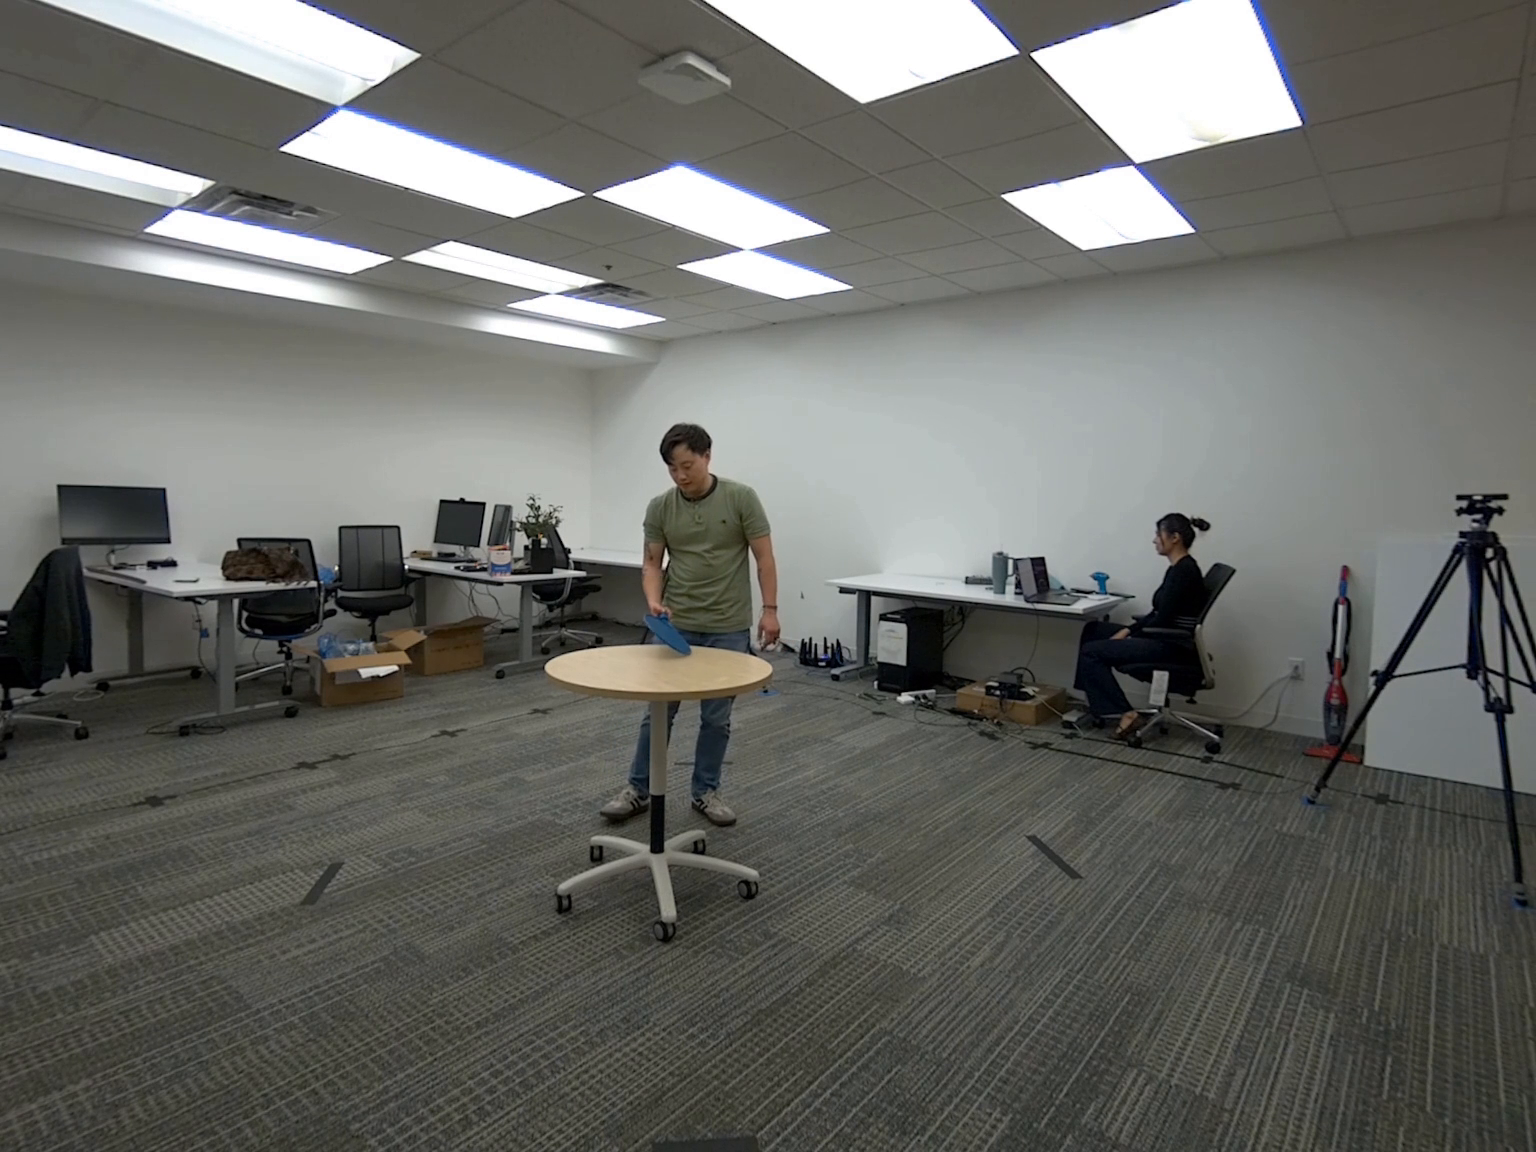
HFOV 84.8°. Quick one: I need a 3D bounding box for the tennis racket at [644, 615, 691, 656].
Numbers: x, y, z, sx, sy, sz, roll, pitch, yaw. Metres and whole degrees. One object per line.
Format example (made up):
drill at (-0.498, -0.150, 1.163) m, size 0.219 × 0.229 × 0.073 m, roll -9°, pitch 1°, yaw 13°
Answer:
tennis racket at (-0.389, 0.192, 3.206) m, size 0.210 × 0.032 × 0.440 m, roll 36°, pitch 6°, yaw -13°
